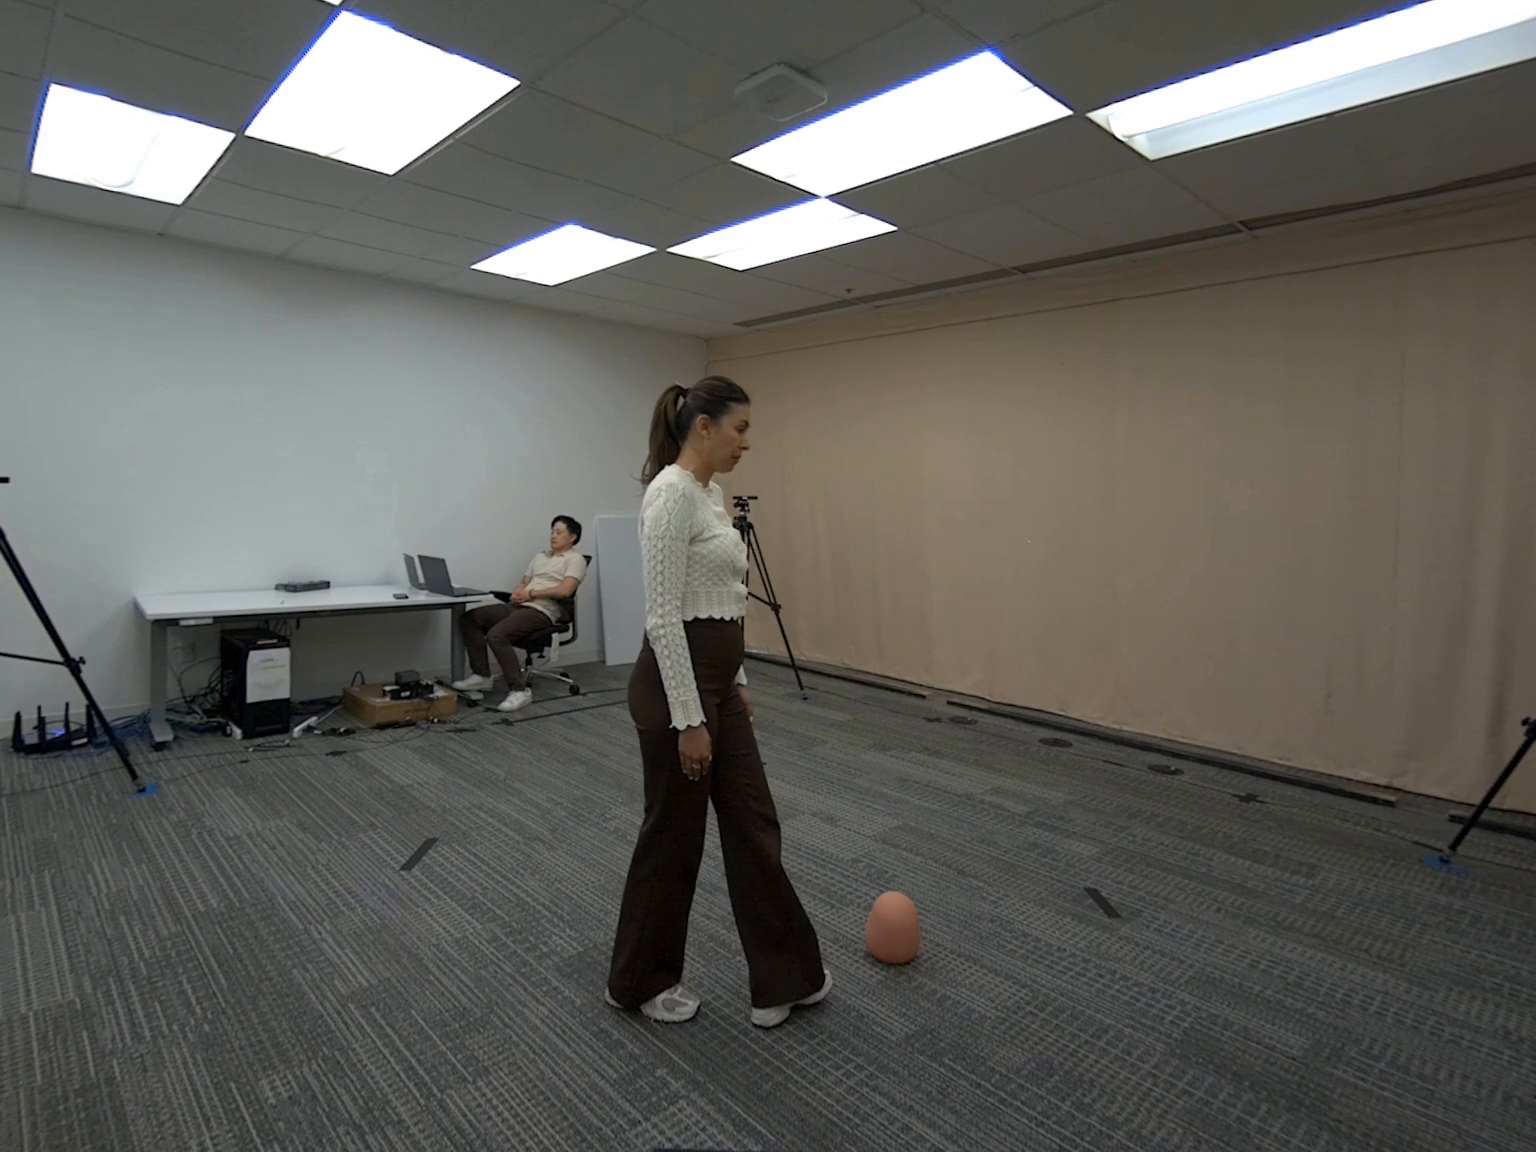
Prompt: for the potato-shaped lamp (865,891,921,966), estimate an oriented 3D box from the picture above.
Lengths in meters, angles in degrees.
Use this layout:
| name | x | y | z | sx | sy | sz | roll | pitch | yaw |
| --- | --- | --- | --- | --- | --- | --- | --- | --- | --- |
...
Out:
| name | x | y | z | sx | sy | sz | roll | pitch | yaw |
| --- | --- | --- | --- | --- | --- | --- | --- | --- | --- |
| potato-shaped lamp | 0.375 | 1.067 | 2.570 | 0.164 | 0.197 | 0.172 | 3 | 4 | -6 |
